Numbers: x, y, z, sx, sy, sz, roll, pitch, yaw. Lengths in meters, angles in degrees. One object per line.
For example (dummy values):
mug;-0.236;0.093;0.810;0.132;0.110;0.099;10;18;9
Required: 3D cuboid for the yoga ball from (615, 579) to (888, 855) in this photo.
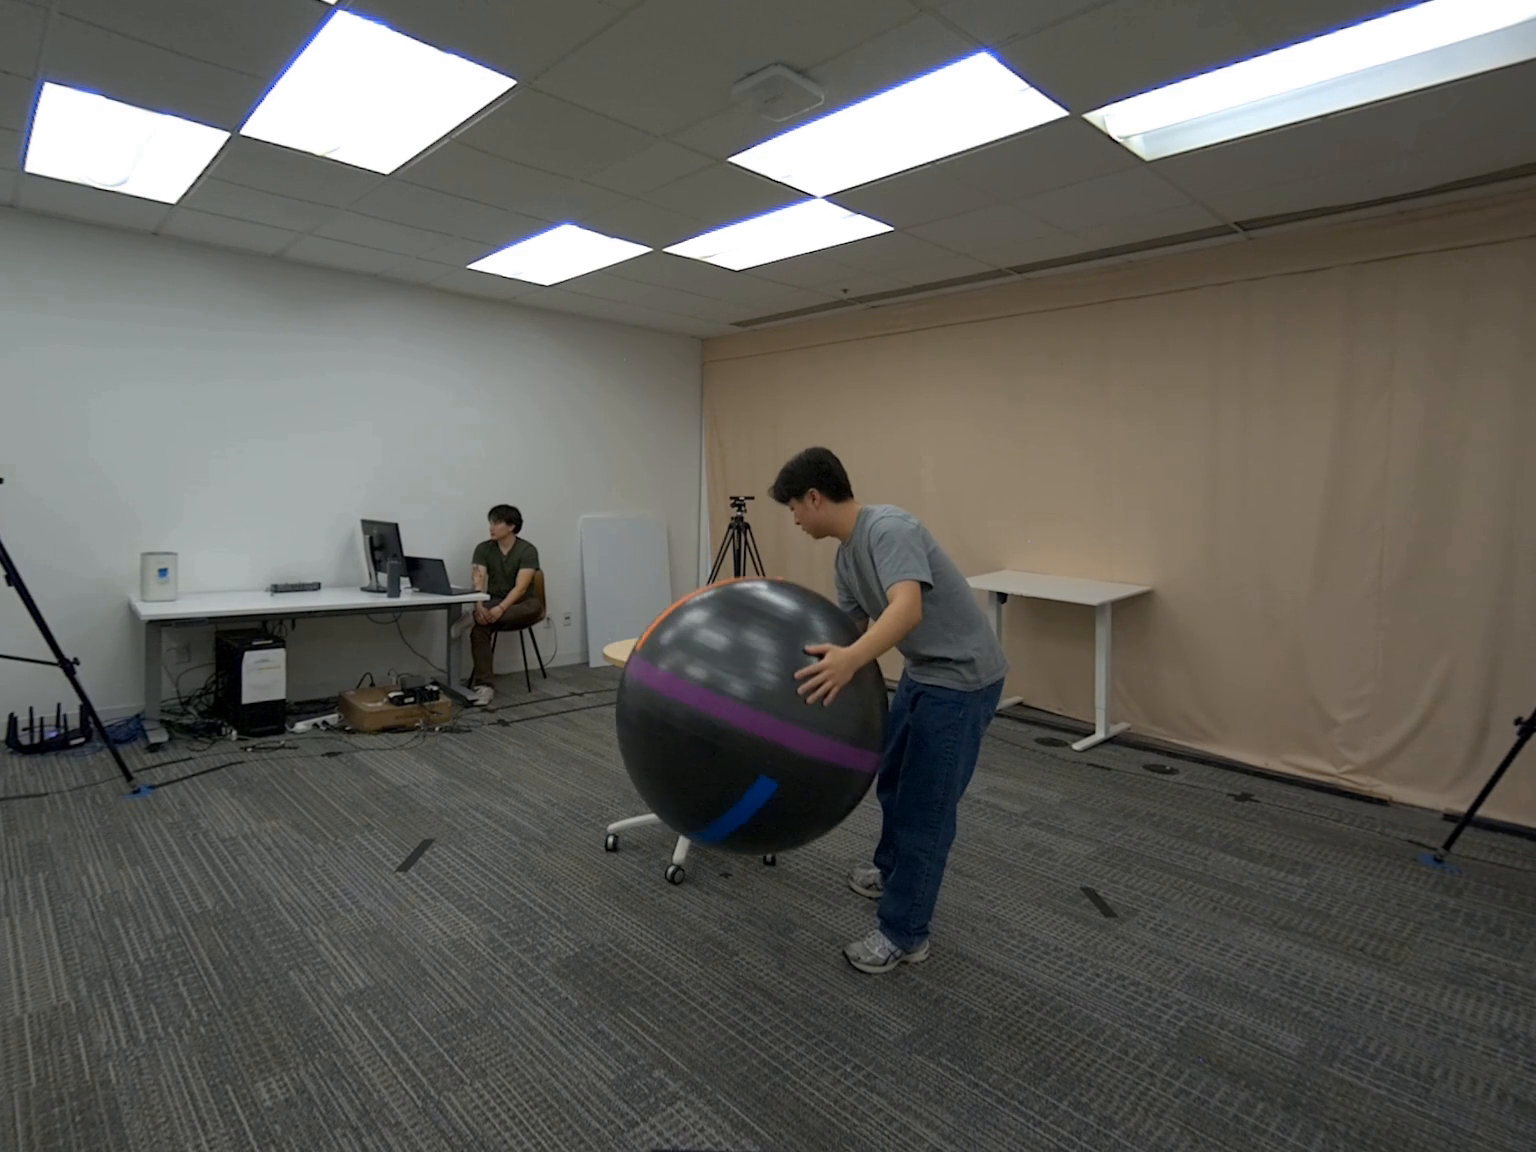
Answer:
yoga ball;-0.054;0.389;2.378;0.757;0.756;0.761;1;4;-1
